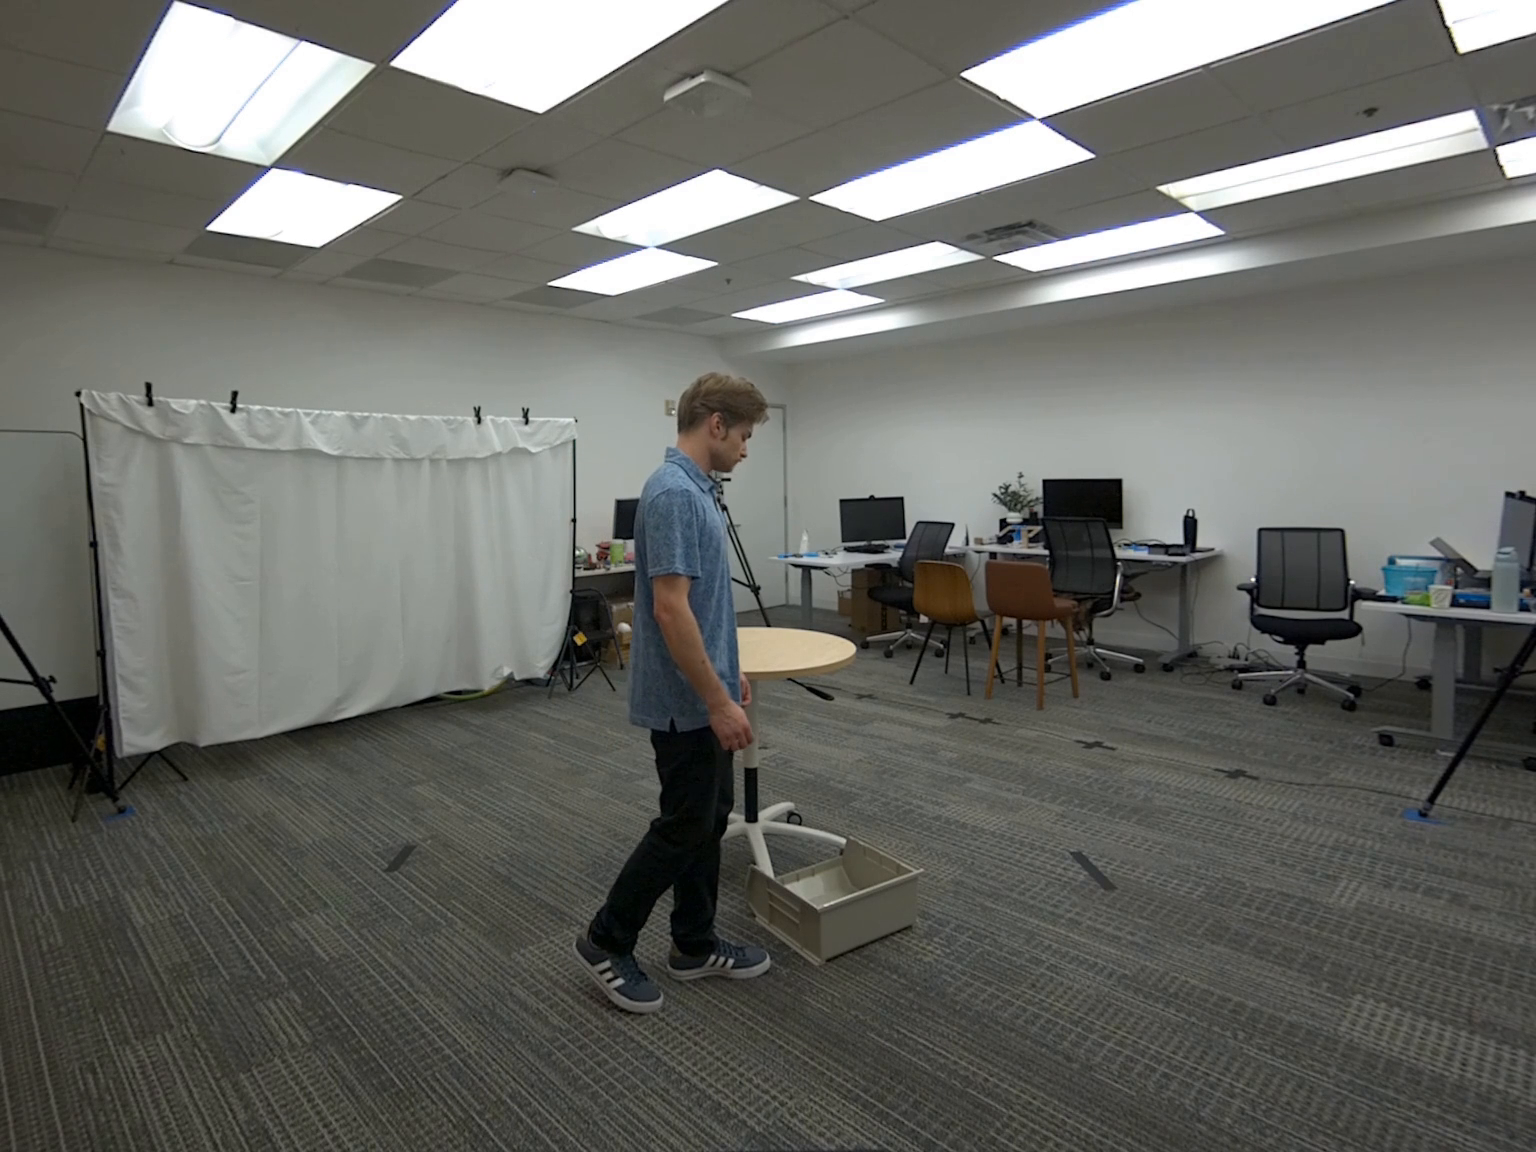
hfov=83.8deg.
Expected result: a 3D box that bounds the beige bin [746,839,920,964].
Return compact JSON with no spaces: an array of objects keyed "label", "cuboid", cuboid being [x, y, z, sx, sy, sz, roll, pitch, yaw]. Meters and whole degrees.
[{"label":"beige bin","cuboid":[0.210,1.002,2.686,0.412,0.188,0.389,-5,8,-34]}]
